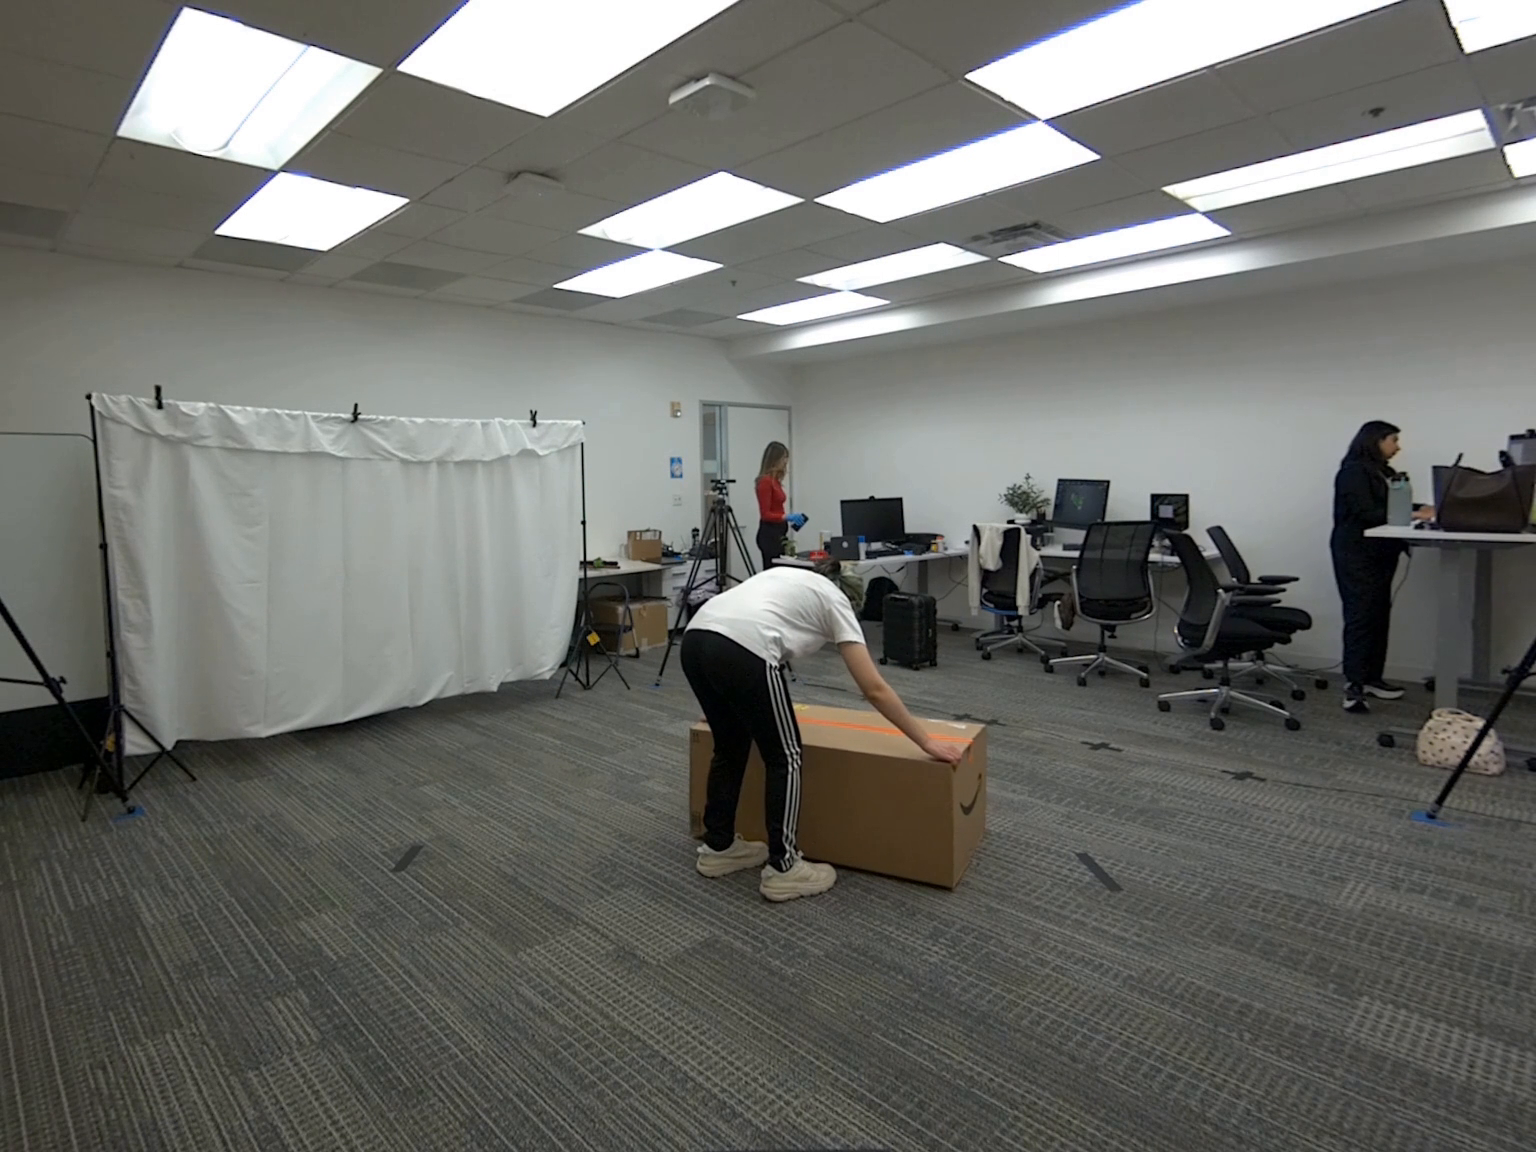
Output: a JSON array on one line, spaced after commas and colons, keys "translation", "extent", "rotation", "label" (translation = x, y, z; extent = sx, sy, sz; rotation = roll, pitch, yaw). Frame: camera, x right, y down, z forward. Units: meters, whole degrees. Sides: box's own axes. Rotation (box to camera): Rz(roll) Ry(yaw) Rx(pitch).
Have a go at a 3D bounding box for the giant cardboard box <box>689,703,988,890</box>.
[{"translation": [0.277, 0.793, 3.338], "extent": [1.051, 0.425, 0.565], "rotation": [2, 4, 26], "label": "giant cardboard box"}]
